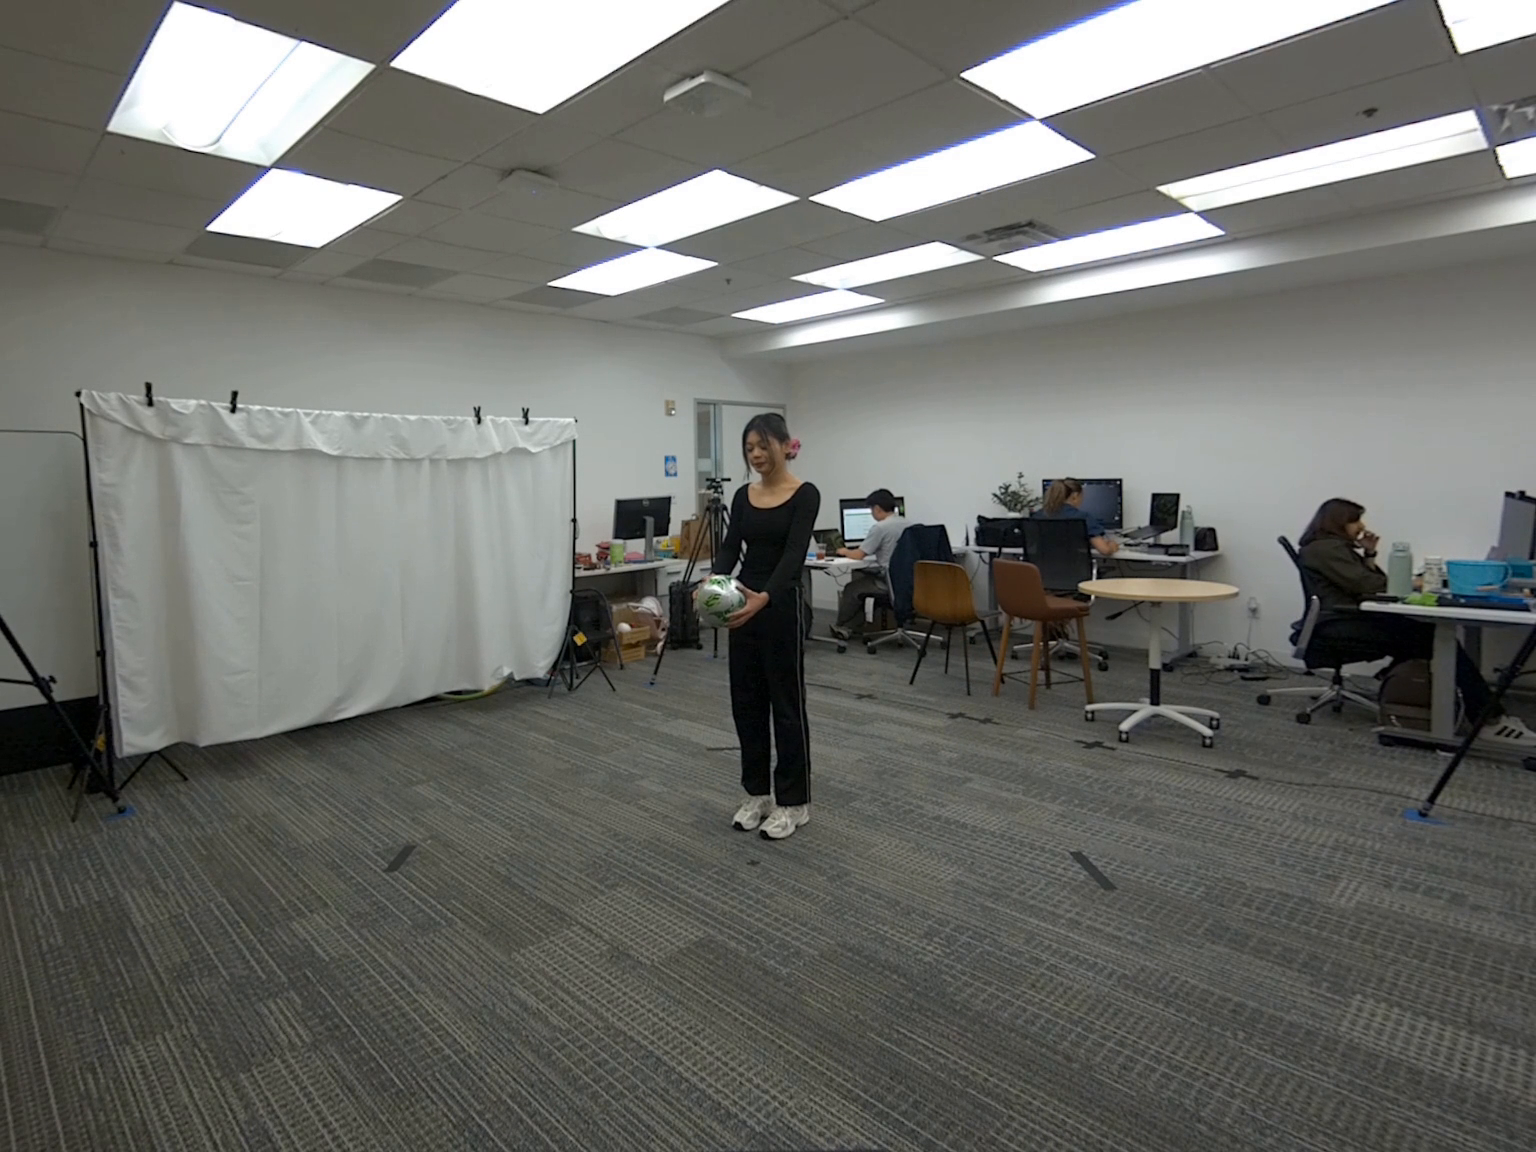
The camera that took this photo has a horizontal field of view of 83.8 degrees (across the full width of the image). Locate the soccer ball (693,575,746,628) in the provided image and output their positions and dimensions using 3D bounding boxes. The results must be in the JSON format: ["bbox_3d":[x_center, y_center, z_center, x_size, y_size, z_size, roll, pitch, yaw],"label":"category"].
[{"bbox_3d":[-0.168,0.090,3.026,0.187,0.187,0.188,-1,5,-2],"label":"soccer ball"}]
